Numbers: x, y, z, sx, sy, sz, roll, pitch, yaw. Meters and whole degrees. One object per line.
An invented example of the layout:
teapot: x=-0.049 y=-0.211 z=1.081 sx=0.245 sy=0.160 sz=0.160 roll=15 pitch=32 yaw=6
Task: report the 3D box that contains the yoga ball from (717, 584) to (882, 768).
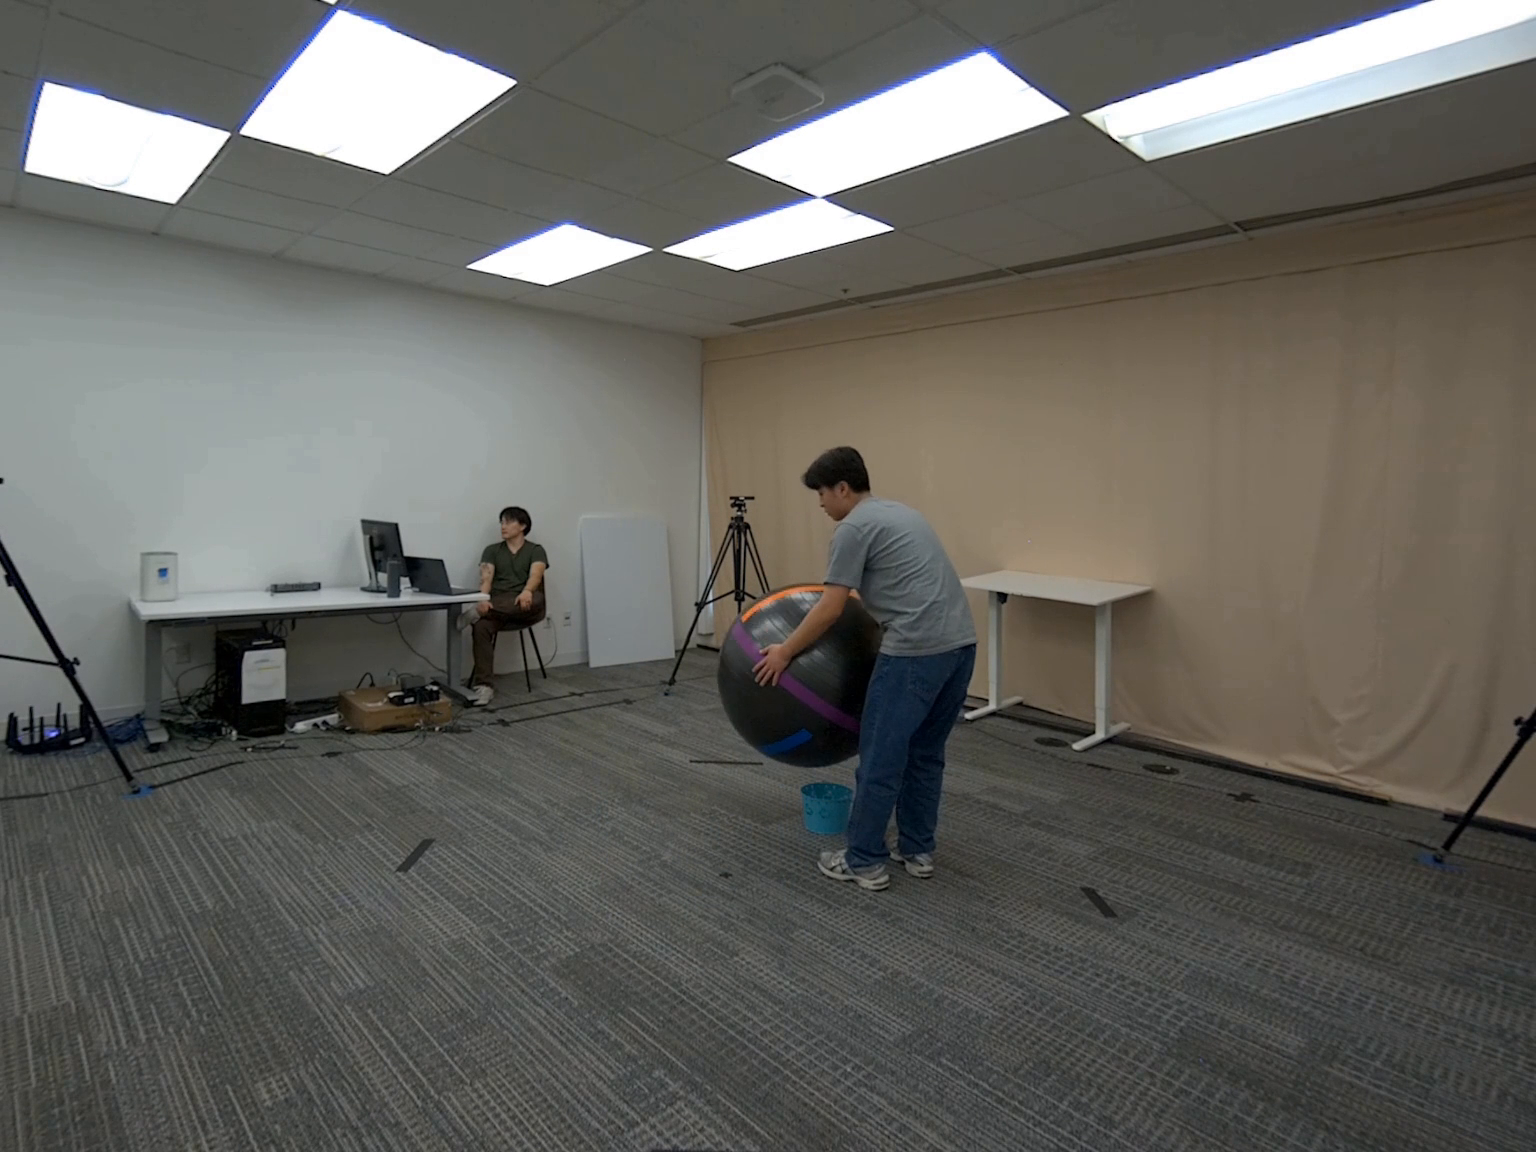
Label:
yoga ball: x=0.163 y=0.411 z=3.514 sx=0.757 sy=0.756 sz=0.761 roll=1 pitch=4 yaw=-1
